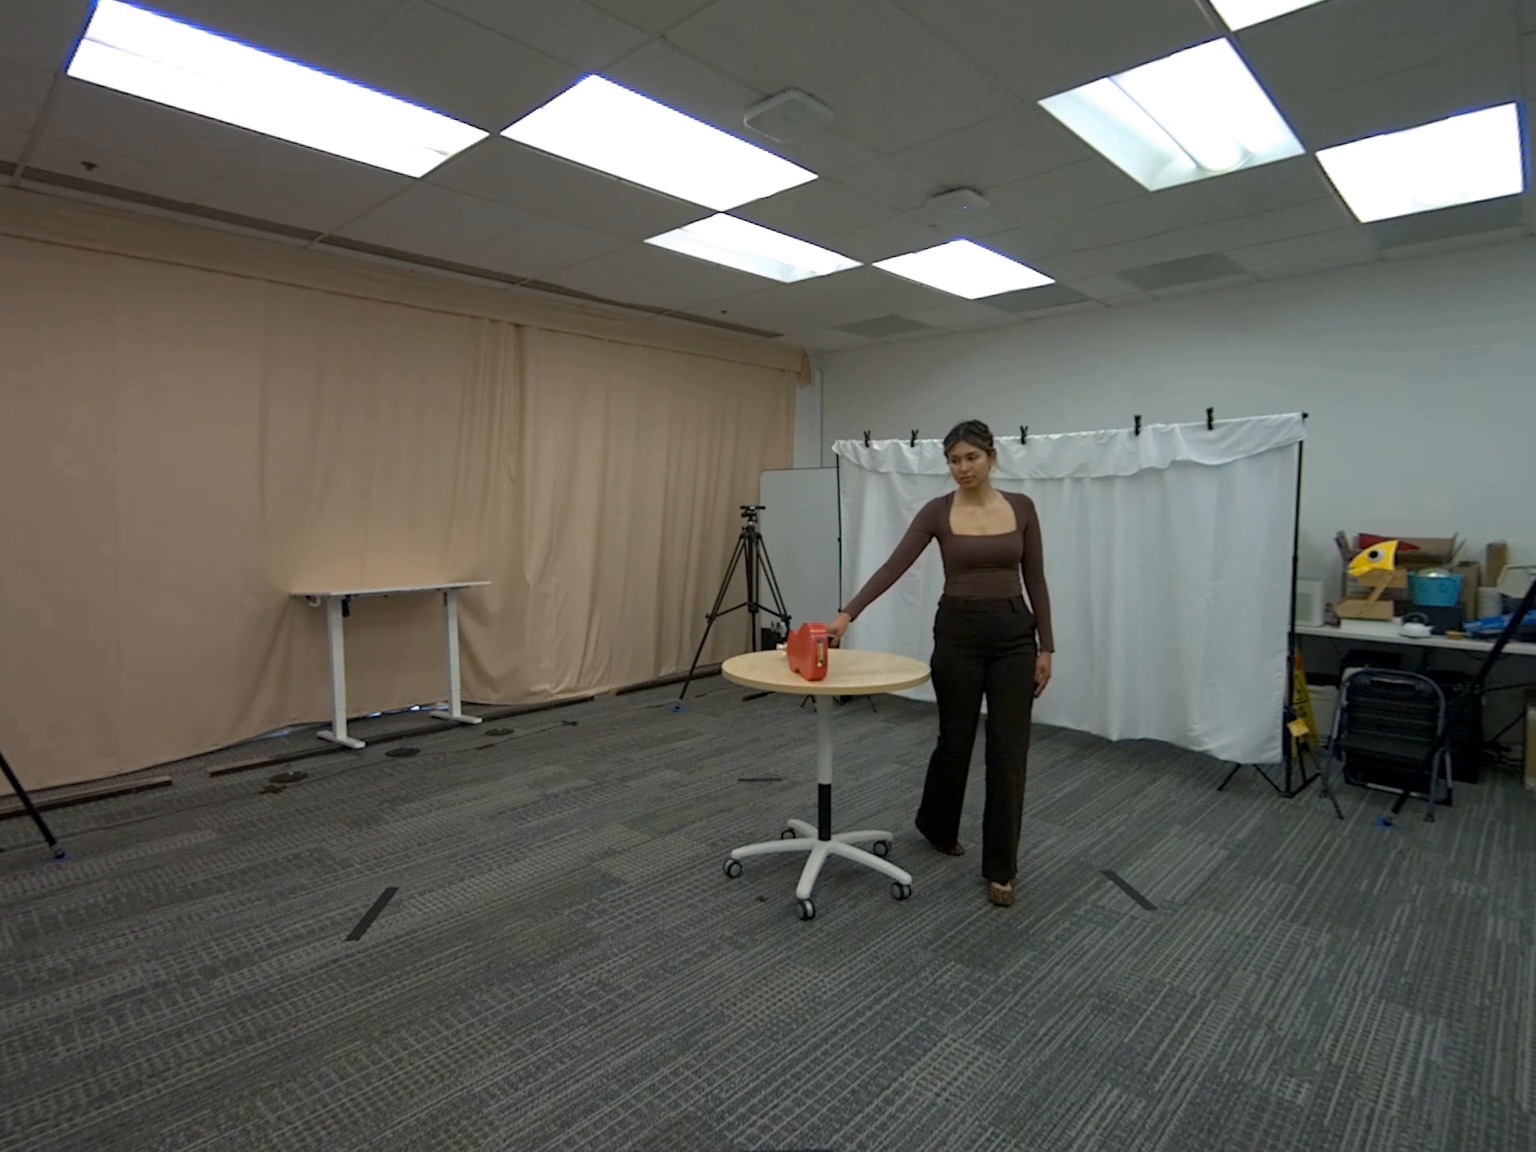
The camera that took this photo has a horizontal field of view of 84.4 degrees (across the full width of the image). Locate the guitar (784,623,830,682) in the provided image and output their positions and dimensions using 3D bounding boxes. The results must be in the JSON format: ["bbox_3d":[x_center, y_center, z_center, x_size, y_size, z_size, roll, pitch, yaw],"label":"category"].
[{"bbox_3d":[0.117,0.299,3.054,0.069,0.195,0.501,3,-14,-16],"label":"guitar"}]
